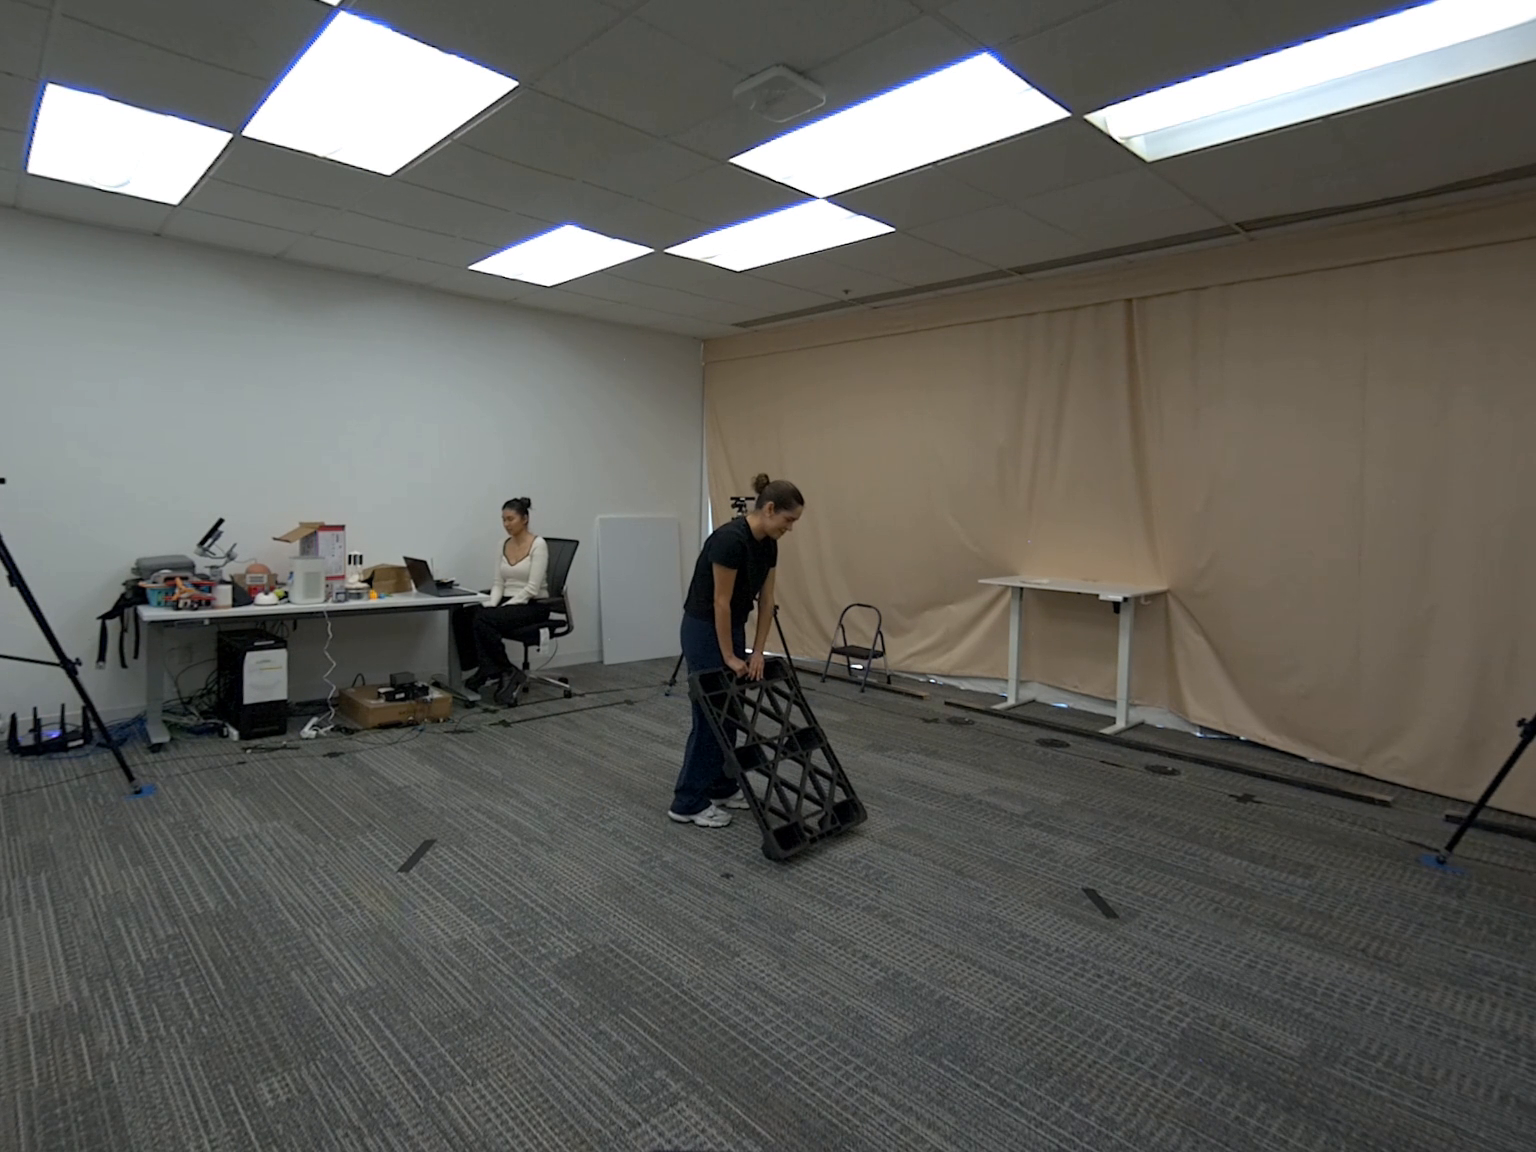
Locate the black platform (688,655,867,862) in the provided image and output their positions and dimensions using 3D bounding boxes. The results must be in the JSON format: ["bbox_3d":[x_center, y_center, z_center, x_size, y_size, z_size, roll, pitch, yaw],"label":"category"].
[{"bbox_3d":[0.012,0.747,3.520,0.591,0.823,0.143,-3,-33,-48],"label":"black platform"}]
